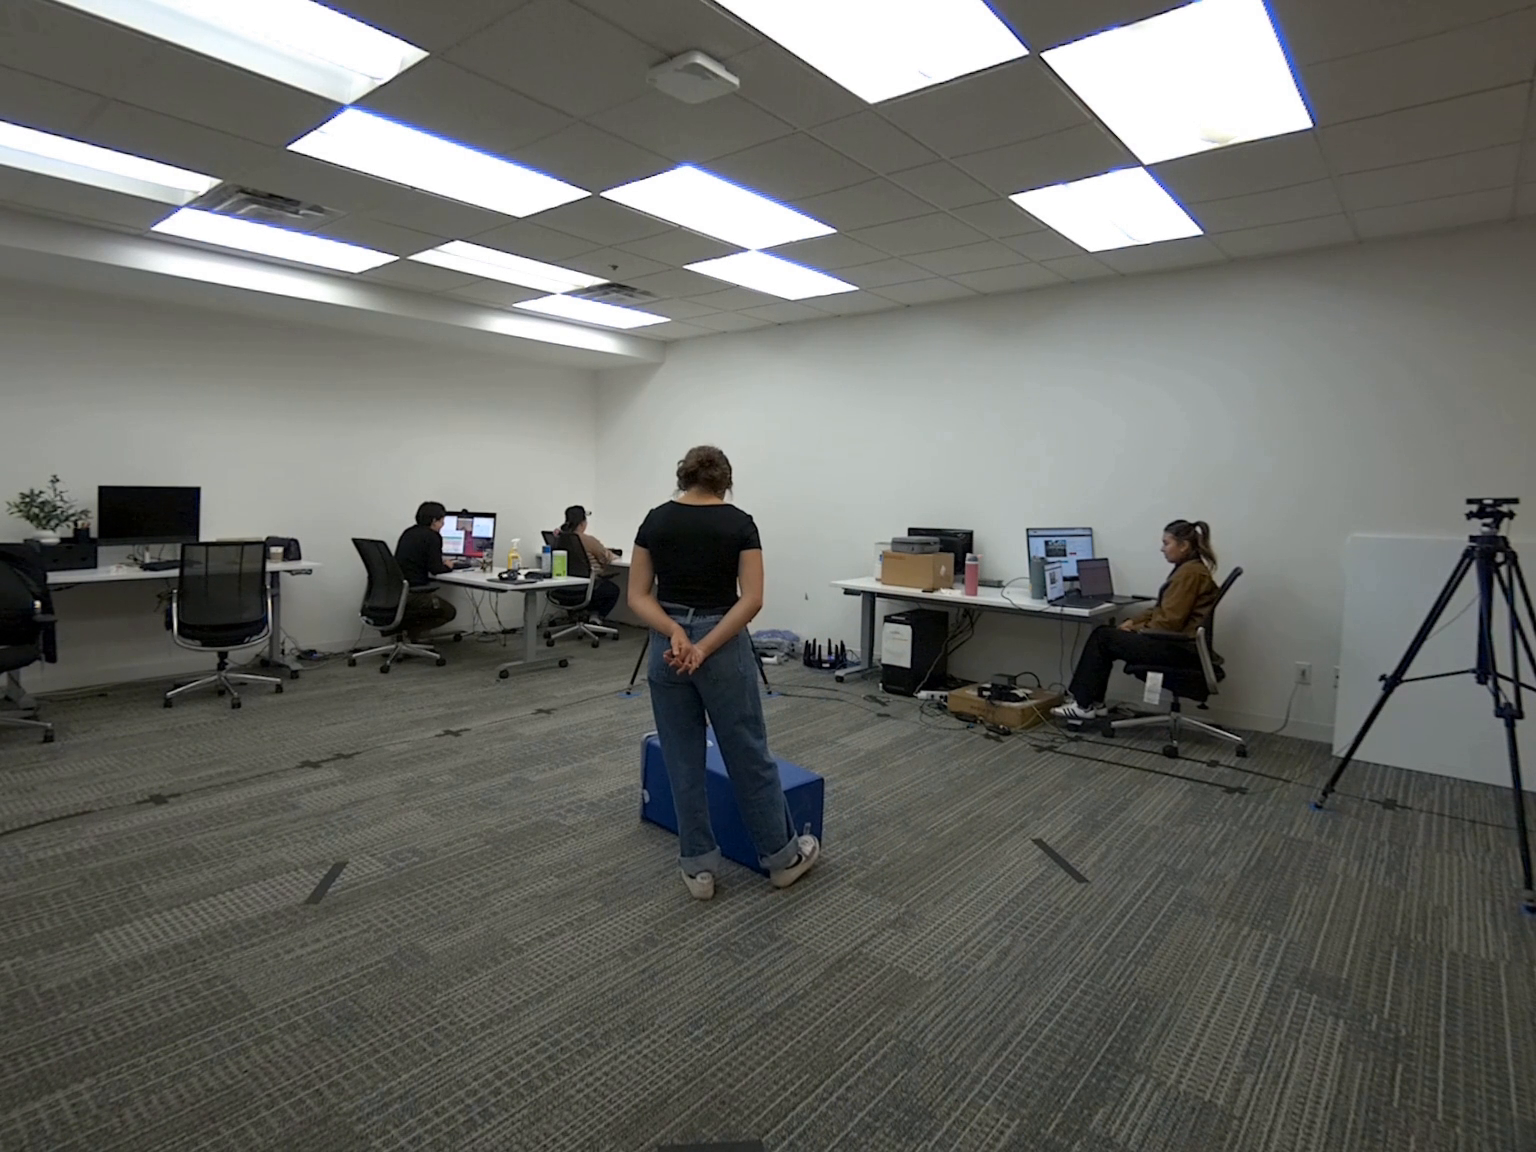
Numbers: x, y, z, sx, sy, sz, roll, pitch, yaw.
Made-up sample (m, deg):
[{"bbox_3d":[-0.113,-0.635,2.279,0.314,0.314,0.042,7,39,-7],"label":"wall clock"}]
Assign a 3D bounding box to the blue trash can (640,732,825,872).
[{"bbox_3d":[-0.159,0.872,3.389,0.739,0.376,0.363,10,9,43],"label":"blue trash can"}]
